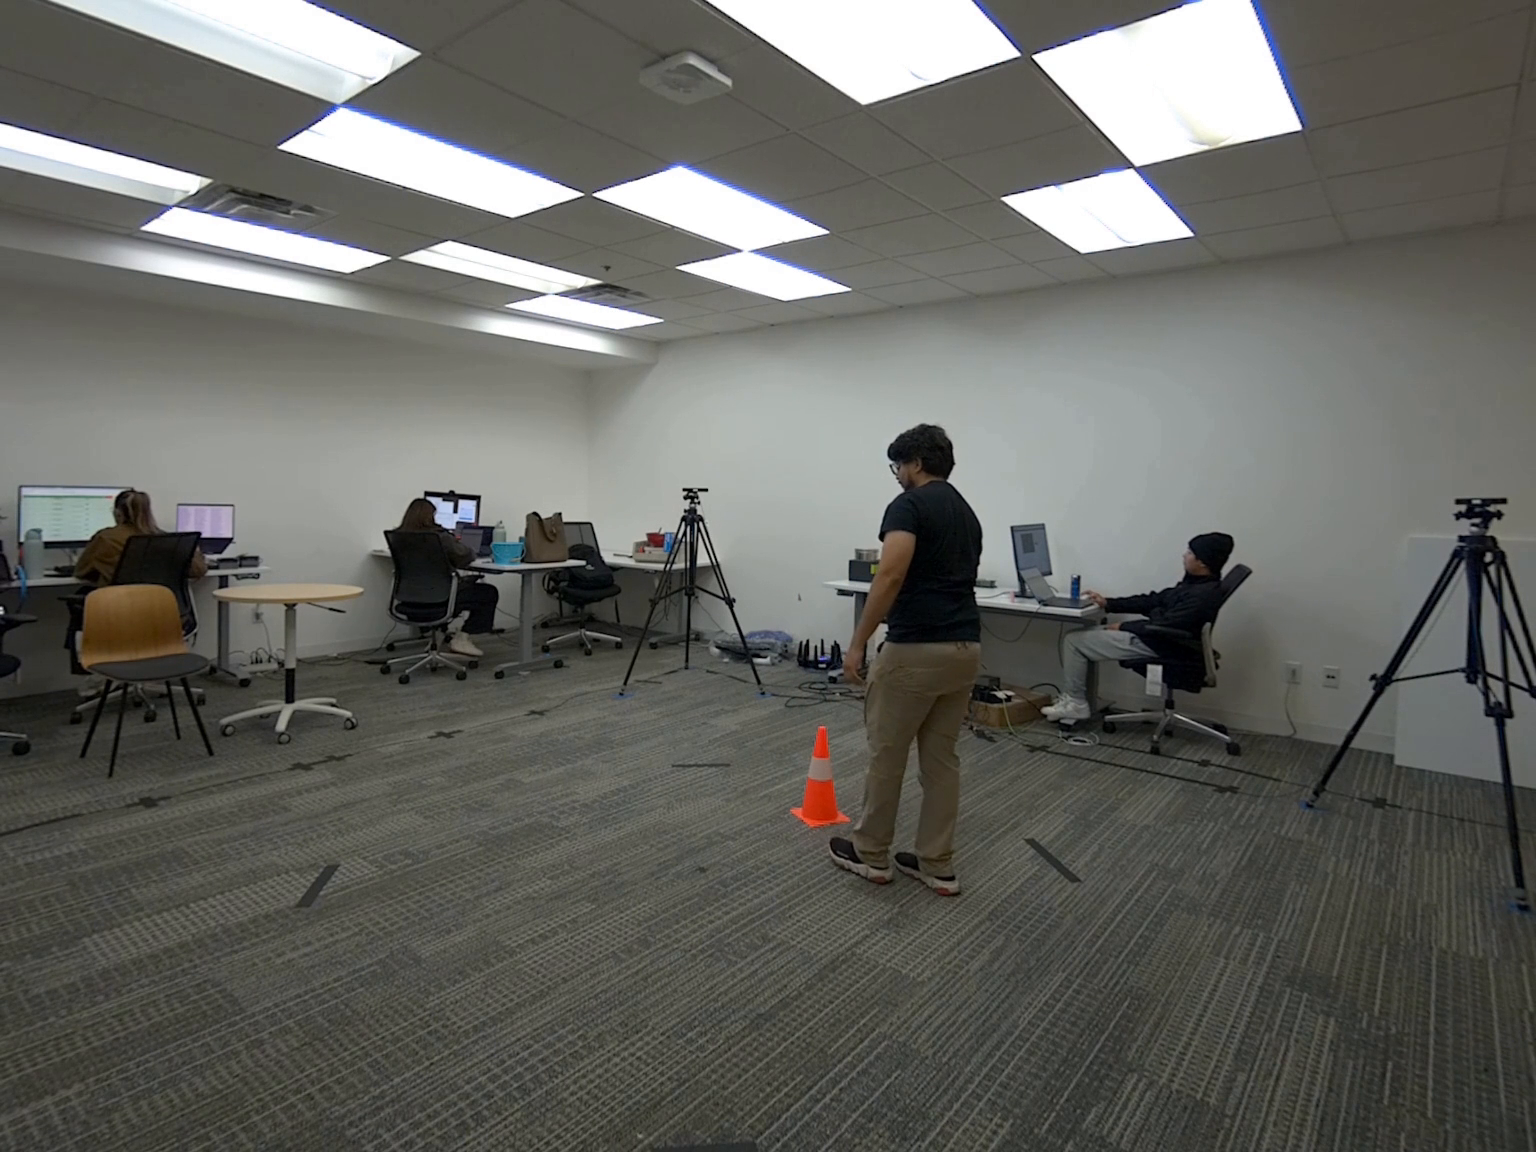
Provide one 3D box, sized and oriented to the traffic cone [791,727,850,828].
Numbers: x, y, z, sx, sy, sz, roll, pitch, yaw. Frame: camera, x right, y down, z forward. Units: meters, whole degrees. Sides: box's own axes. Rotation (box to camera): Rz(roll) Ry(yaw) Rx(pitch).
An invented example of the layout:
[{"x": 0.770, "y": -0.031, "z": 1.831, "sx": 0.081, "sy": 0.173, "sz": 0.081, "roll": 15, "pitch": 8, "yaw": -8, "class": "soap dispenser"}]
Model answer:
[{"x": 0.222, "y": 0.843, "z": 3.652, "sx": 0.198, "sy": 0.382, "sz": 0.211, "roll": -1, "pitch": 5, "yaw": -27, "class": "traffic cone"}]
